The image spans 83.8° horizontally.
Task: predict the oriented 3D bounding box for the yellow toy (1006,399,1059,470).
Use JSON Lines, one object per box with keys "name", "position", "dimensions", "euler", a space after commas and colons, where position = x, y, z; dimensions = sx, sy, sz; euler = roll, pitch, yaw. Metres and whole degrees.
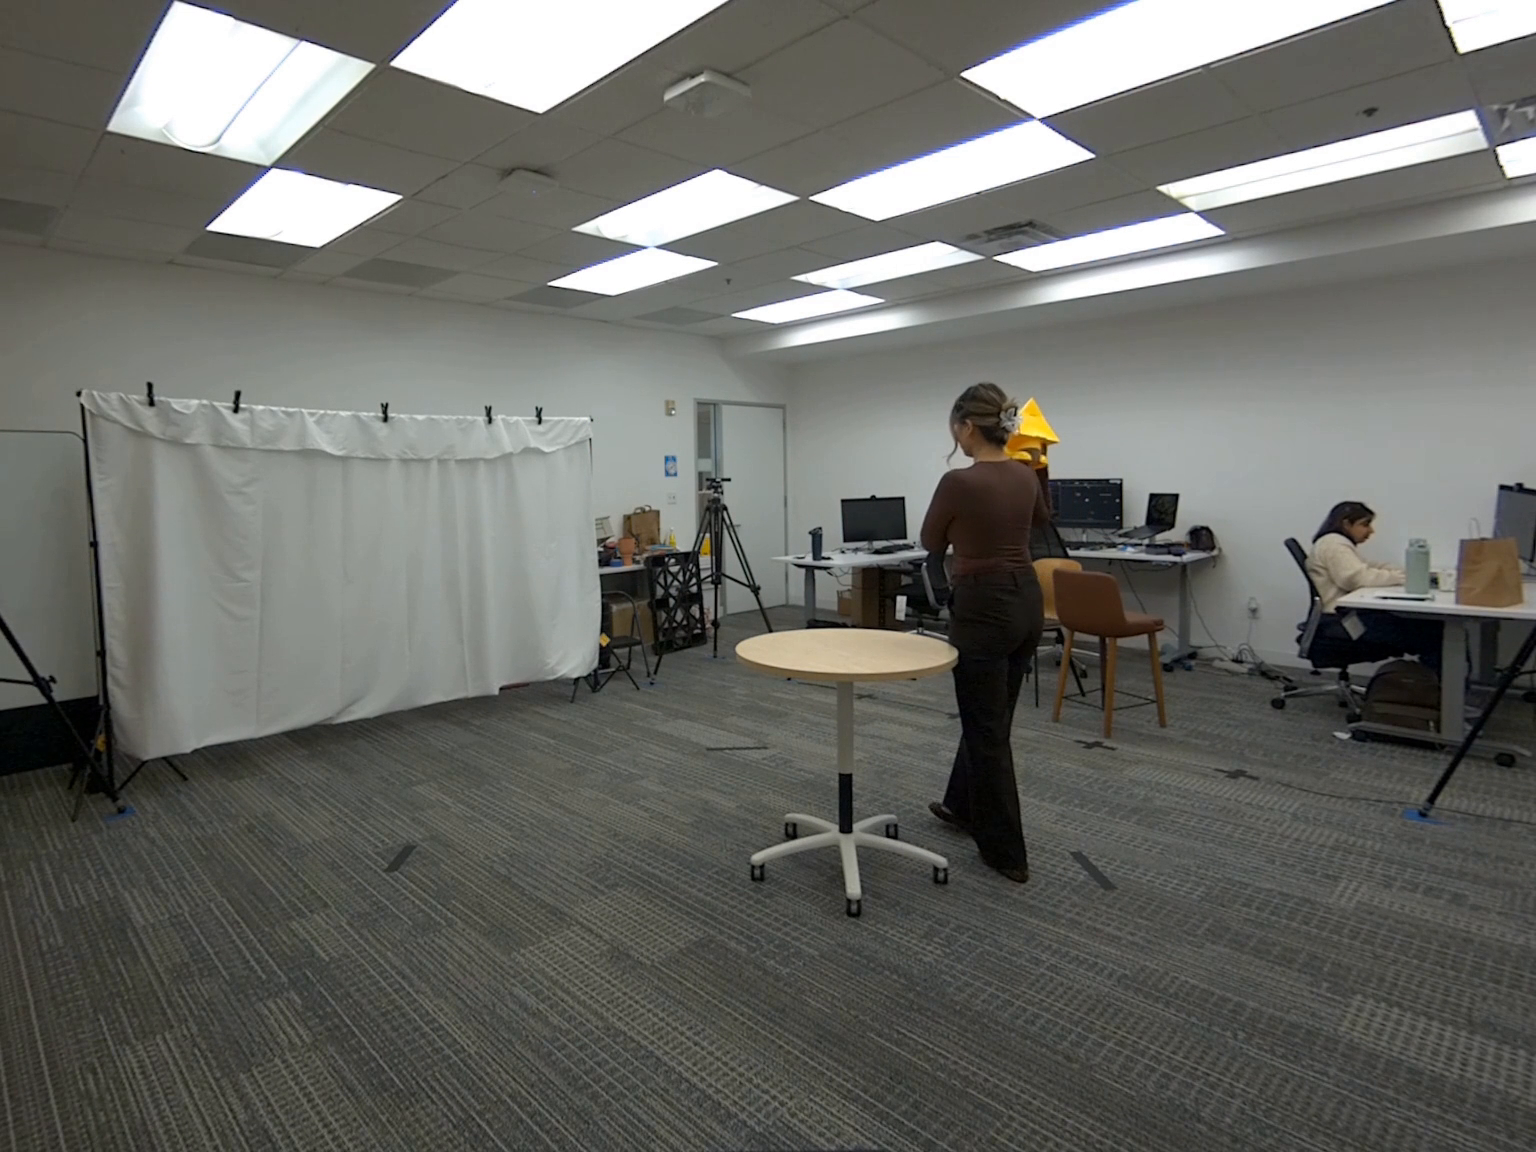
{"name": "yellow toy", "position": [0.910, -0.513, 3.060], "dimensions": [0.199, 0.232, 0.197], "euler": [5, -9, -33]}
